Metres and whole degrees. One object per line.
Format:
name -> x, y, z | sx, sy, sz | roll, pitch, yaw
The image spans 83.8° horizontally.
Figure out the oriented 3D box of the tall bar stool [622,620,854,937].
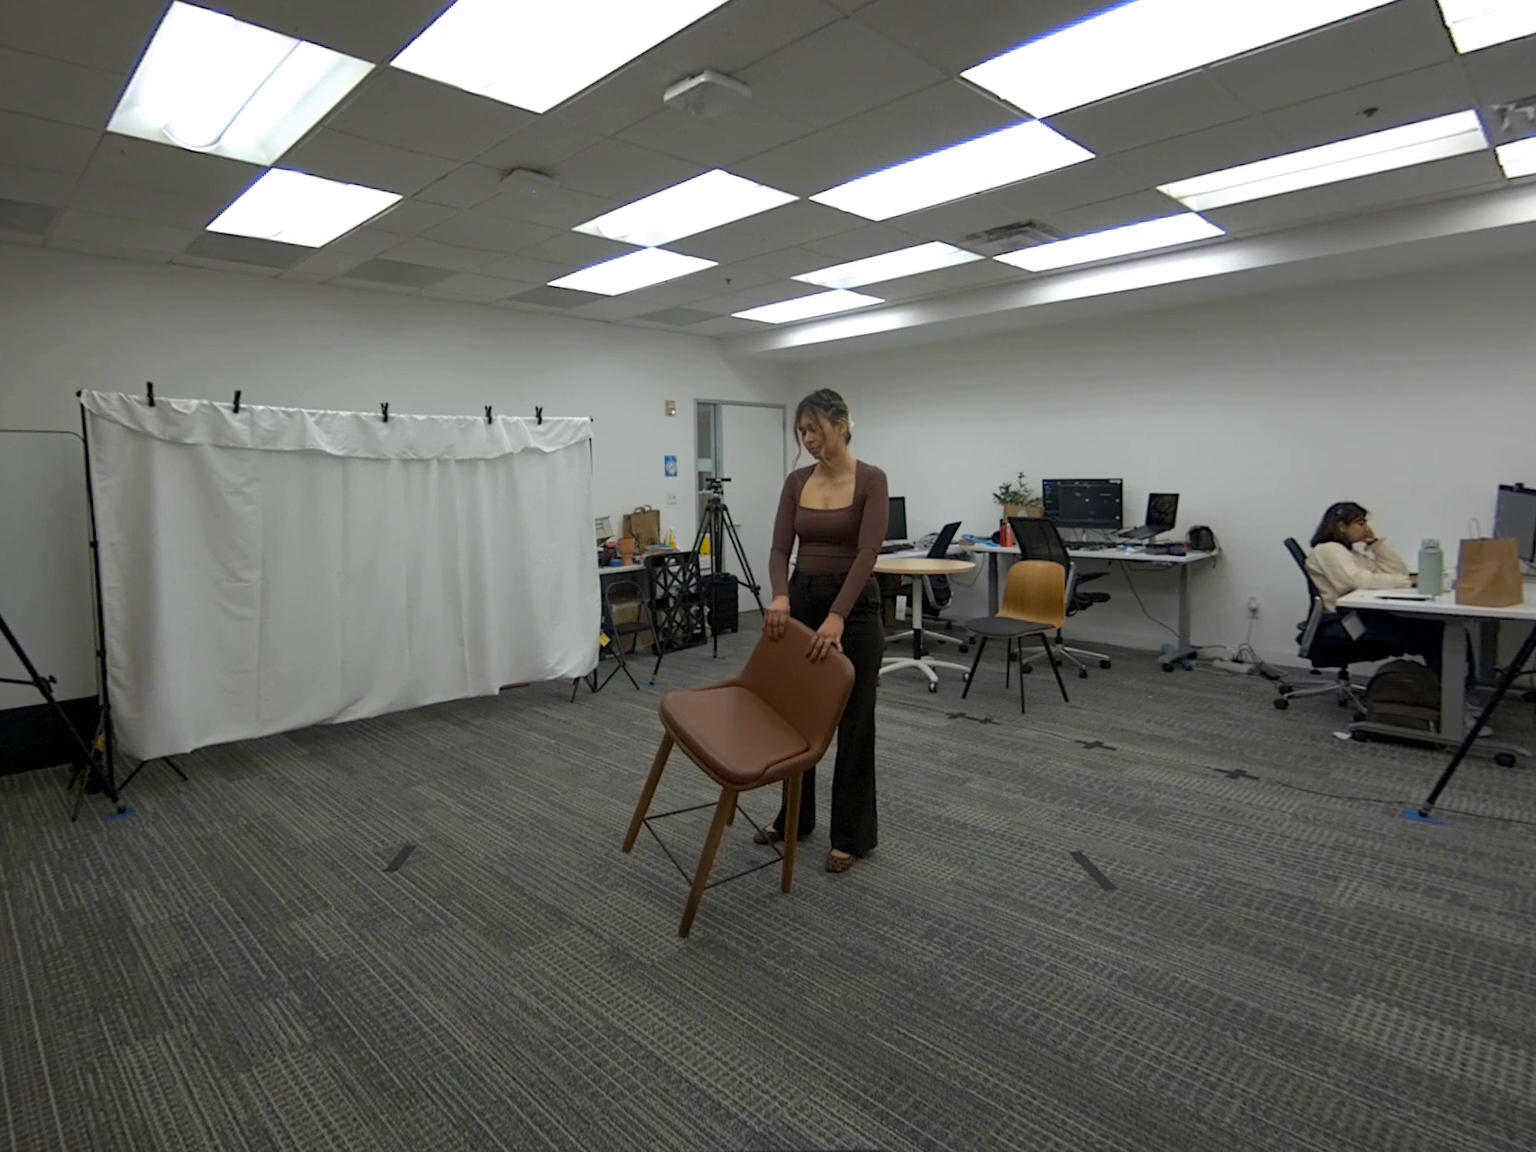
tall bar stool -> -0.101, 0.613, 2.736 | 0.455, 0.879, 0.475 | -1, 25, -38
